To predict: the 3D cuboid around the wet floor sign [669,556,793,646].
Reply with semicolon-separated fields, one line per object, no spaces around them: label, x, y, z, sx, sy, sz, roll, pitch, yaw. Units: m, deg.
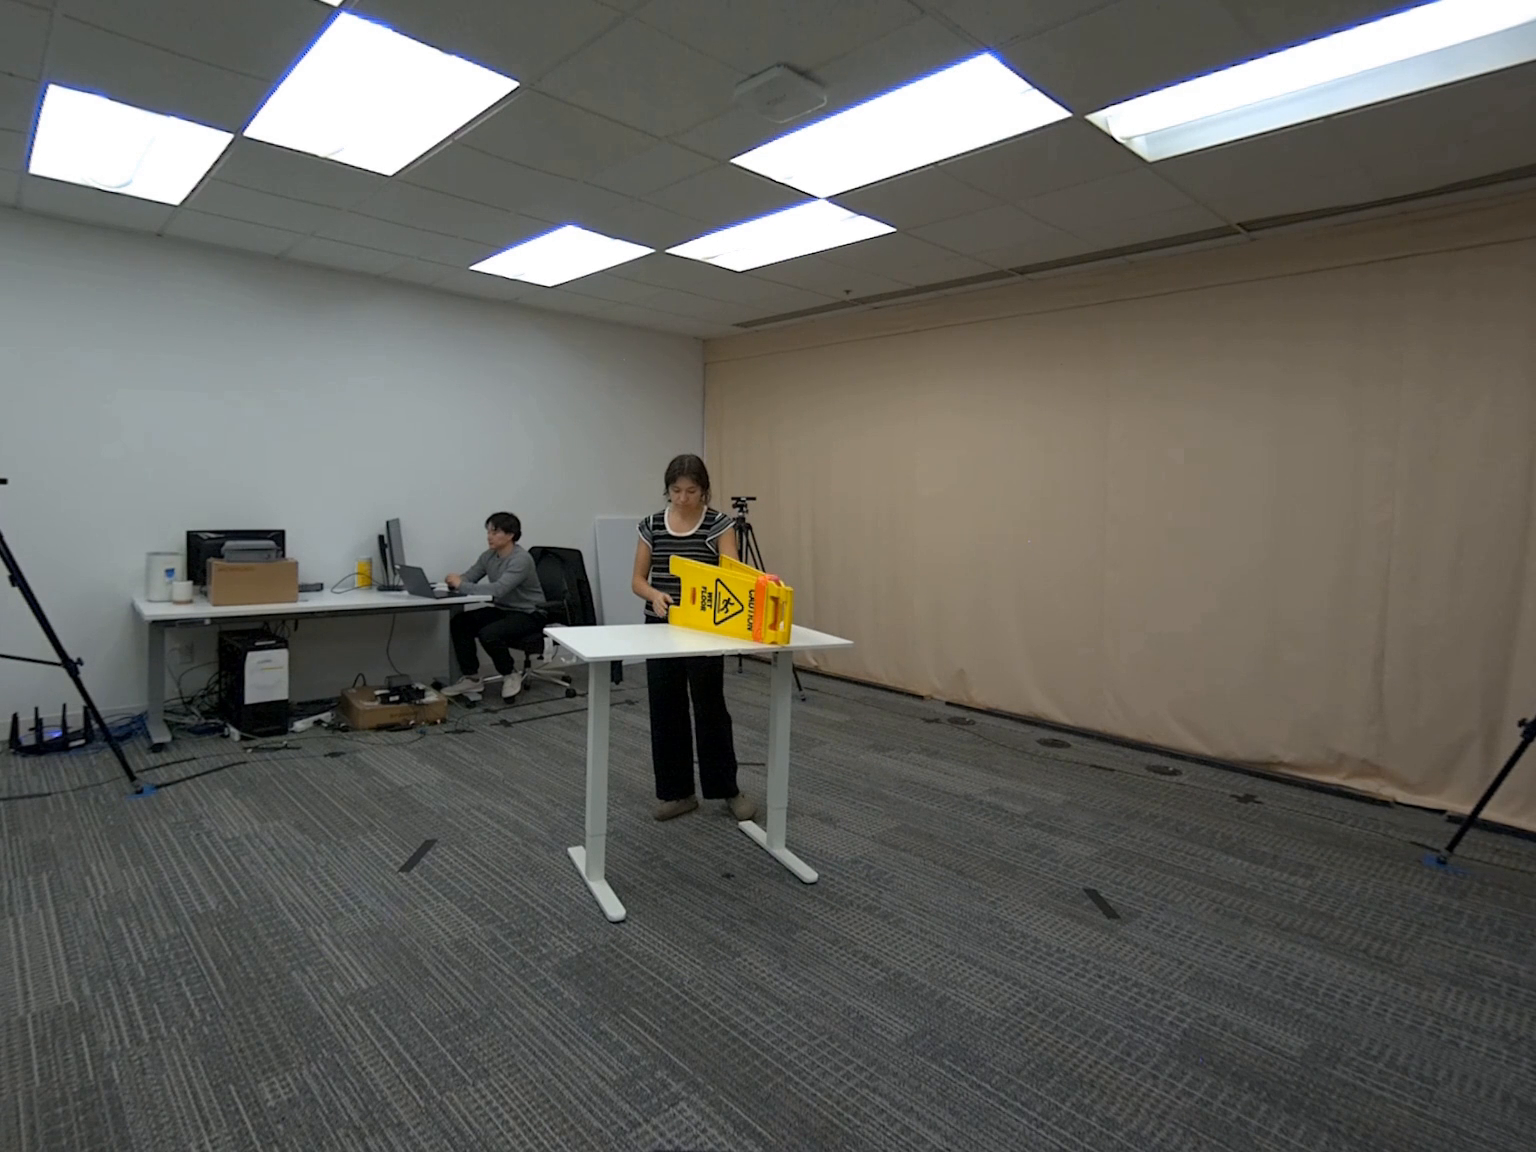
wet floor sign;-0.113;0.099;3.156;0.283;0.281;0.663;-1;8;-35
